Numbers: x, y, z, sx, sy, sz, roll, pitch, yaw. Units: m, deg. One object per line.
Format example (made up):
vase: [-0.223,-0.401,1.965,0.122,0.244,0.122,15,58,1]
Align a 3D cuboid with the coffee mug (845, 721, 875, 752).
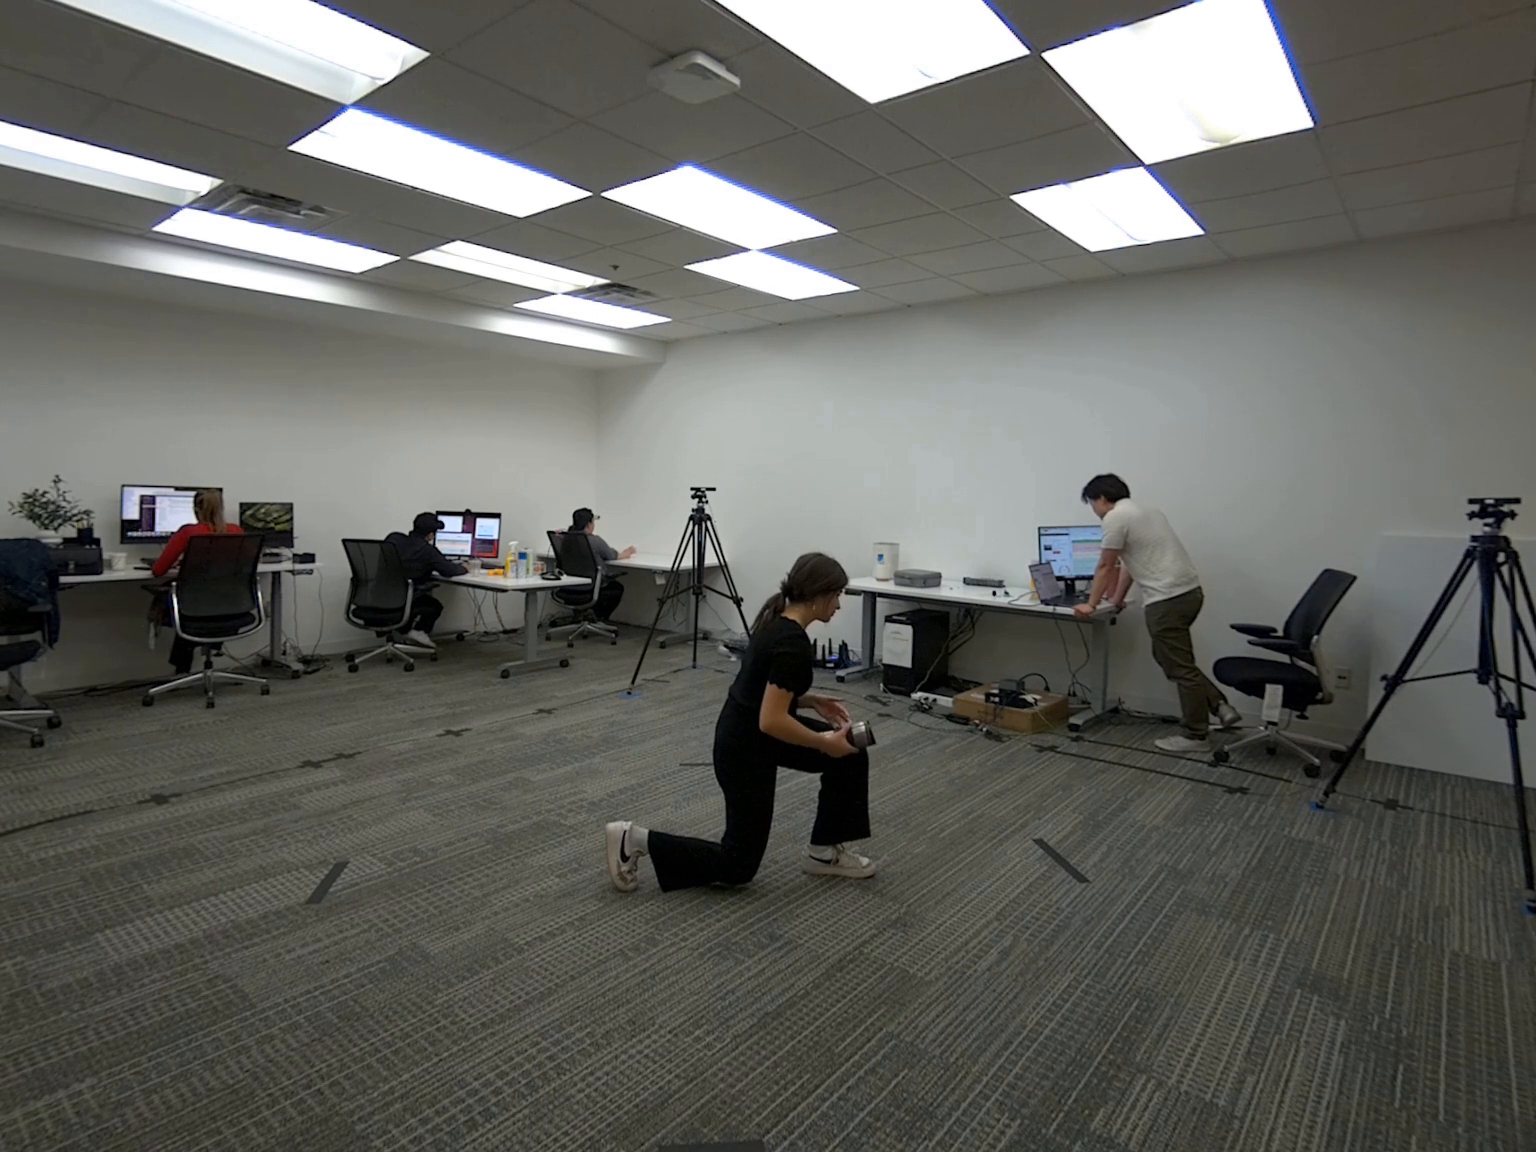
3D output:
coffee mug: [0.260,0.569,2.949,0.203,0.091,0.118,-14,-42,-1]
